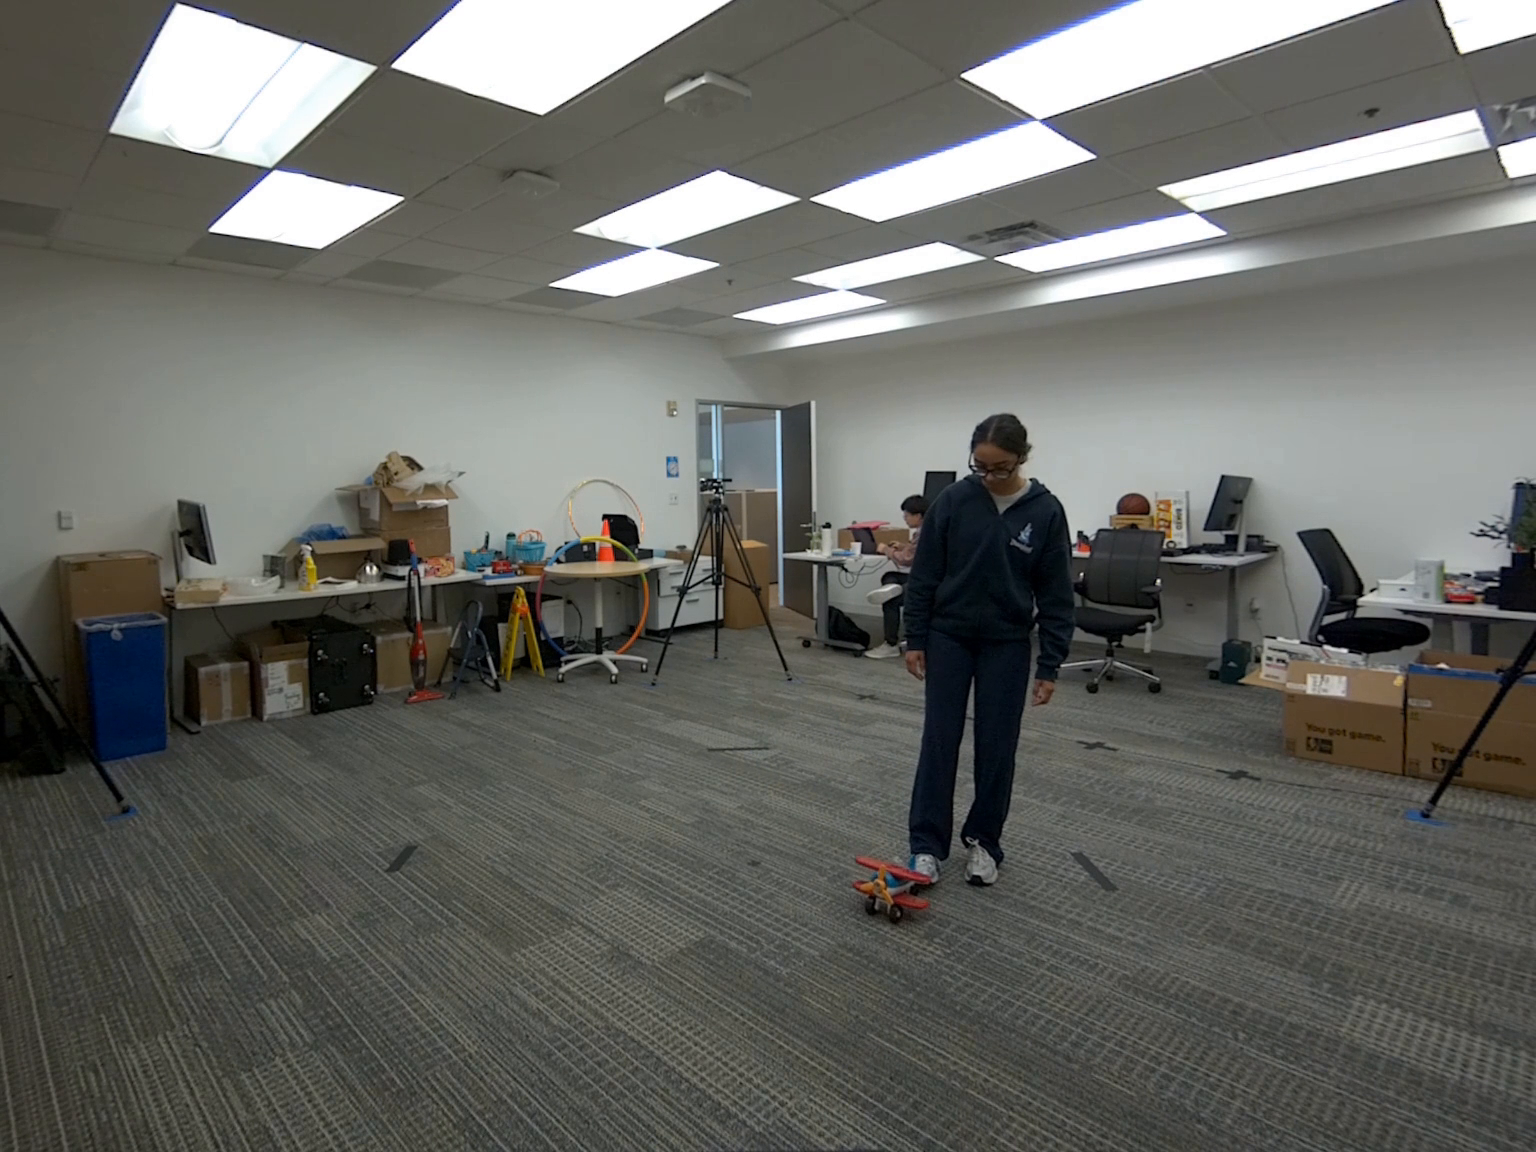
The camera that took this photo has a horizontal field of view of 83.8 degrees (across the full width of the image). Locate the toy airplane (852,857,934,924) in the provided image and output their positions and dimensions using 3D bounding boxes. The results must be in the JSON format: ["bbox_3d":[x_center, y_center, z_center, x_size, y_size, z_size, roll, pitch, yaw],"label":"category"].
[{"bbox_3d":[0.400,0.998,2.776,0.253,0.155,0.258,0,7,8],"label":"toy airplane"}]
